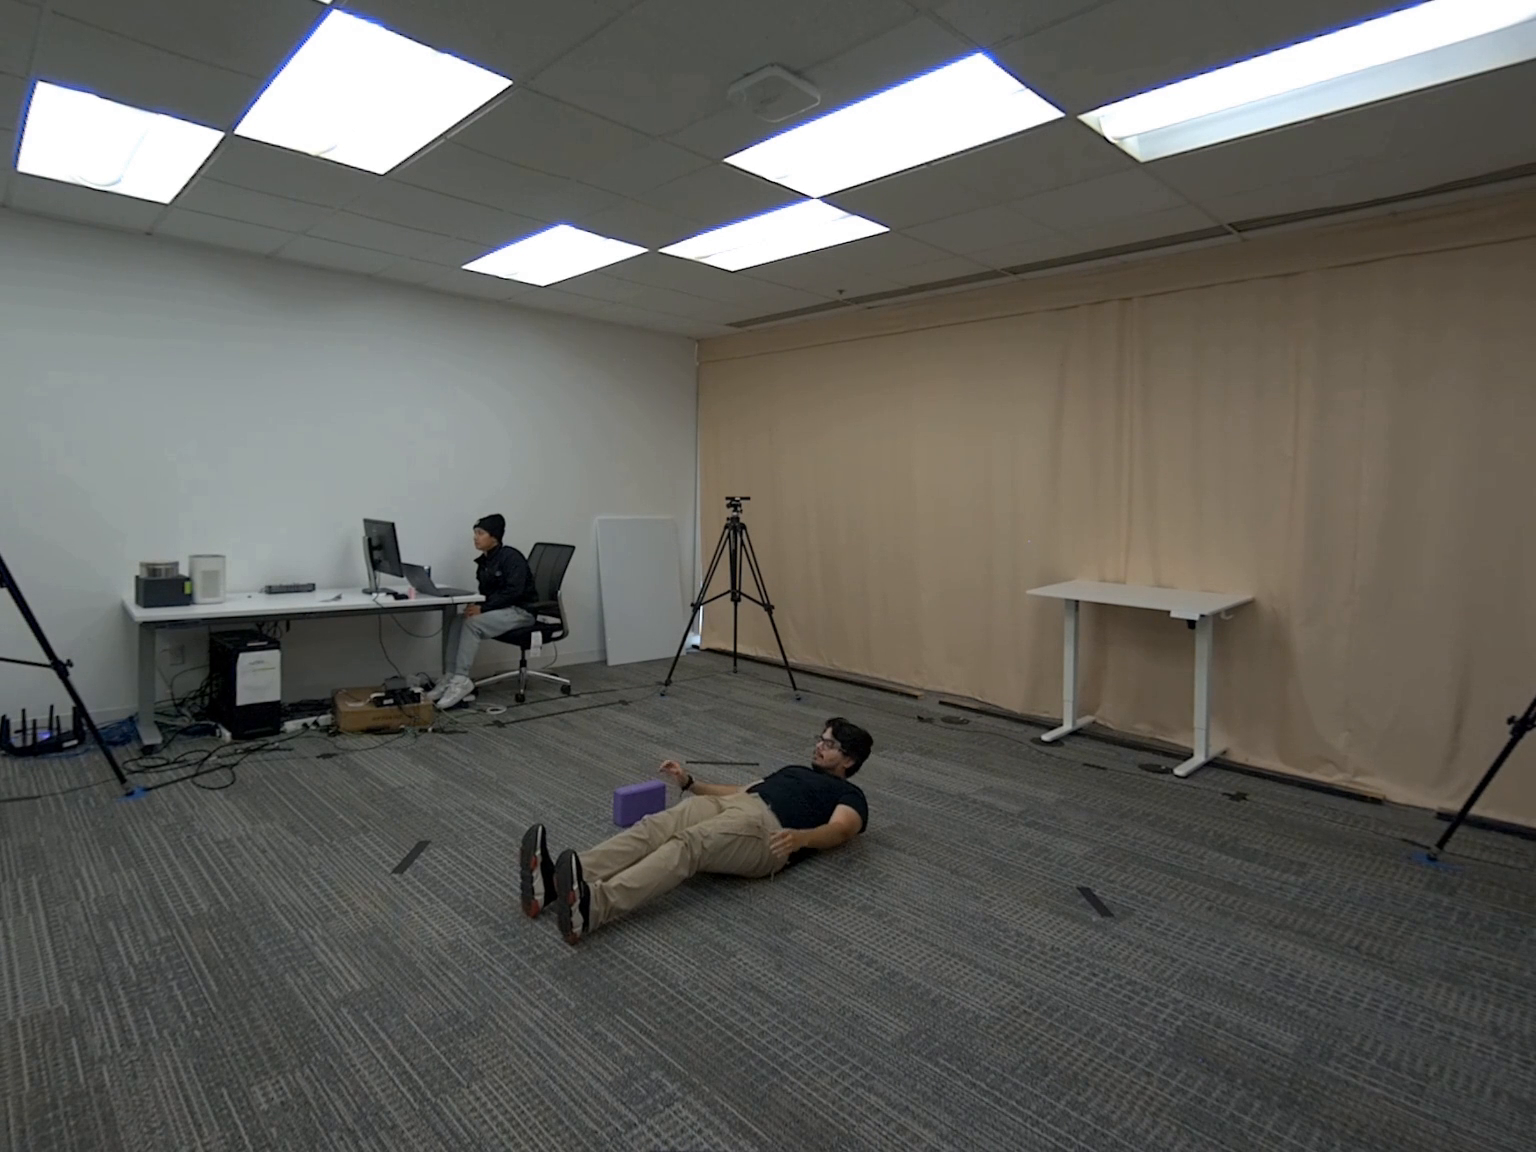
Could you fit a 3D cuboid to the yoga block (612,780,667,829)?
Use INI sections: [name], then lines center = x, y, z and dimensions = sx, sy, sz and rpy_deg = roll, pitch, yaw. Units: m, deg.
[yoga block]
center = -0.559, 0.970, 3.622
dimensions = 0.224, 0.148, 0.078
rpy_deg = -4, 5, -39
